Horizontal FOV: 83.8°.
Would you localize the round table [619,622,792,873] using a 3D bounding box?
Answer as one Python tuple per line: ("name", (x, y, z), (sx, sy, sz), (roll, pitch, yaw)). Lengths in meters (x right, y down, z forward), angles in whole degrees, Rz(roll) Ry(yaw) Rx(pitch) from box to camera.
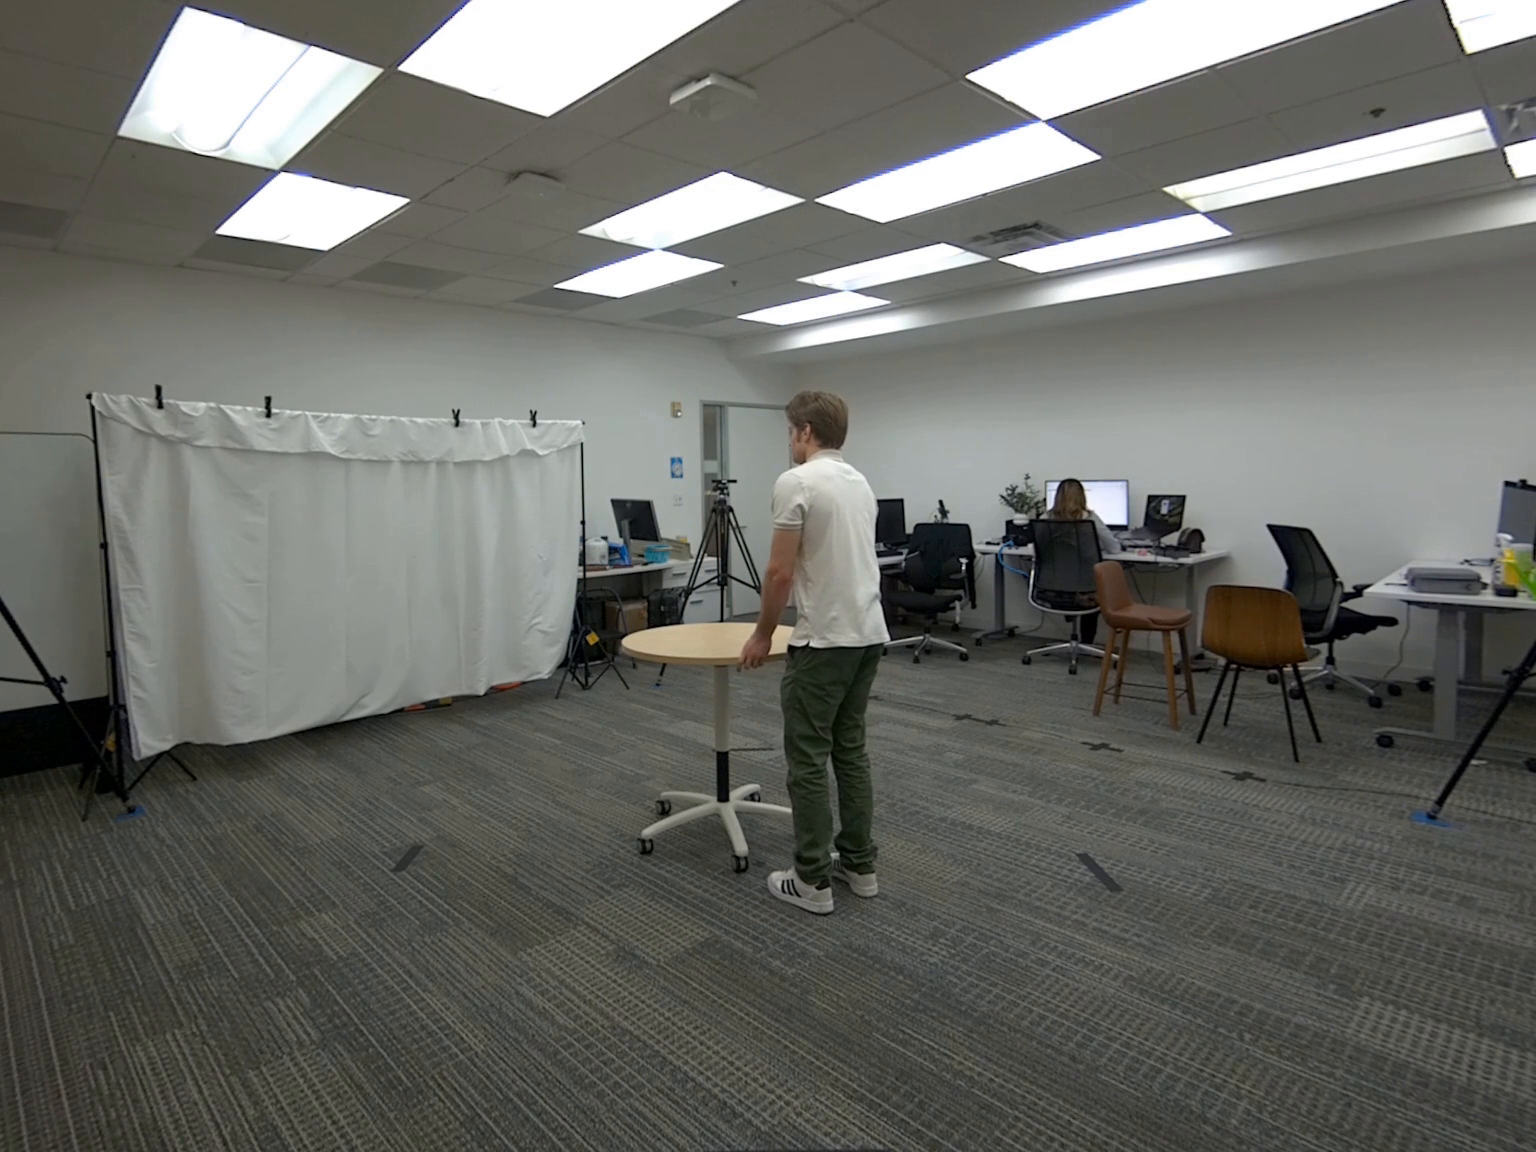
("round table", (-0.180, 0.636, 3.342), (0.763, 0.791, 0.767), (-1, 4, -2))
